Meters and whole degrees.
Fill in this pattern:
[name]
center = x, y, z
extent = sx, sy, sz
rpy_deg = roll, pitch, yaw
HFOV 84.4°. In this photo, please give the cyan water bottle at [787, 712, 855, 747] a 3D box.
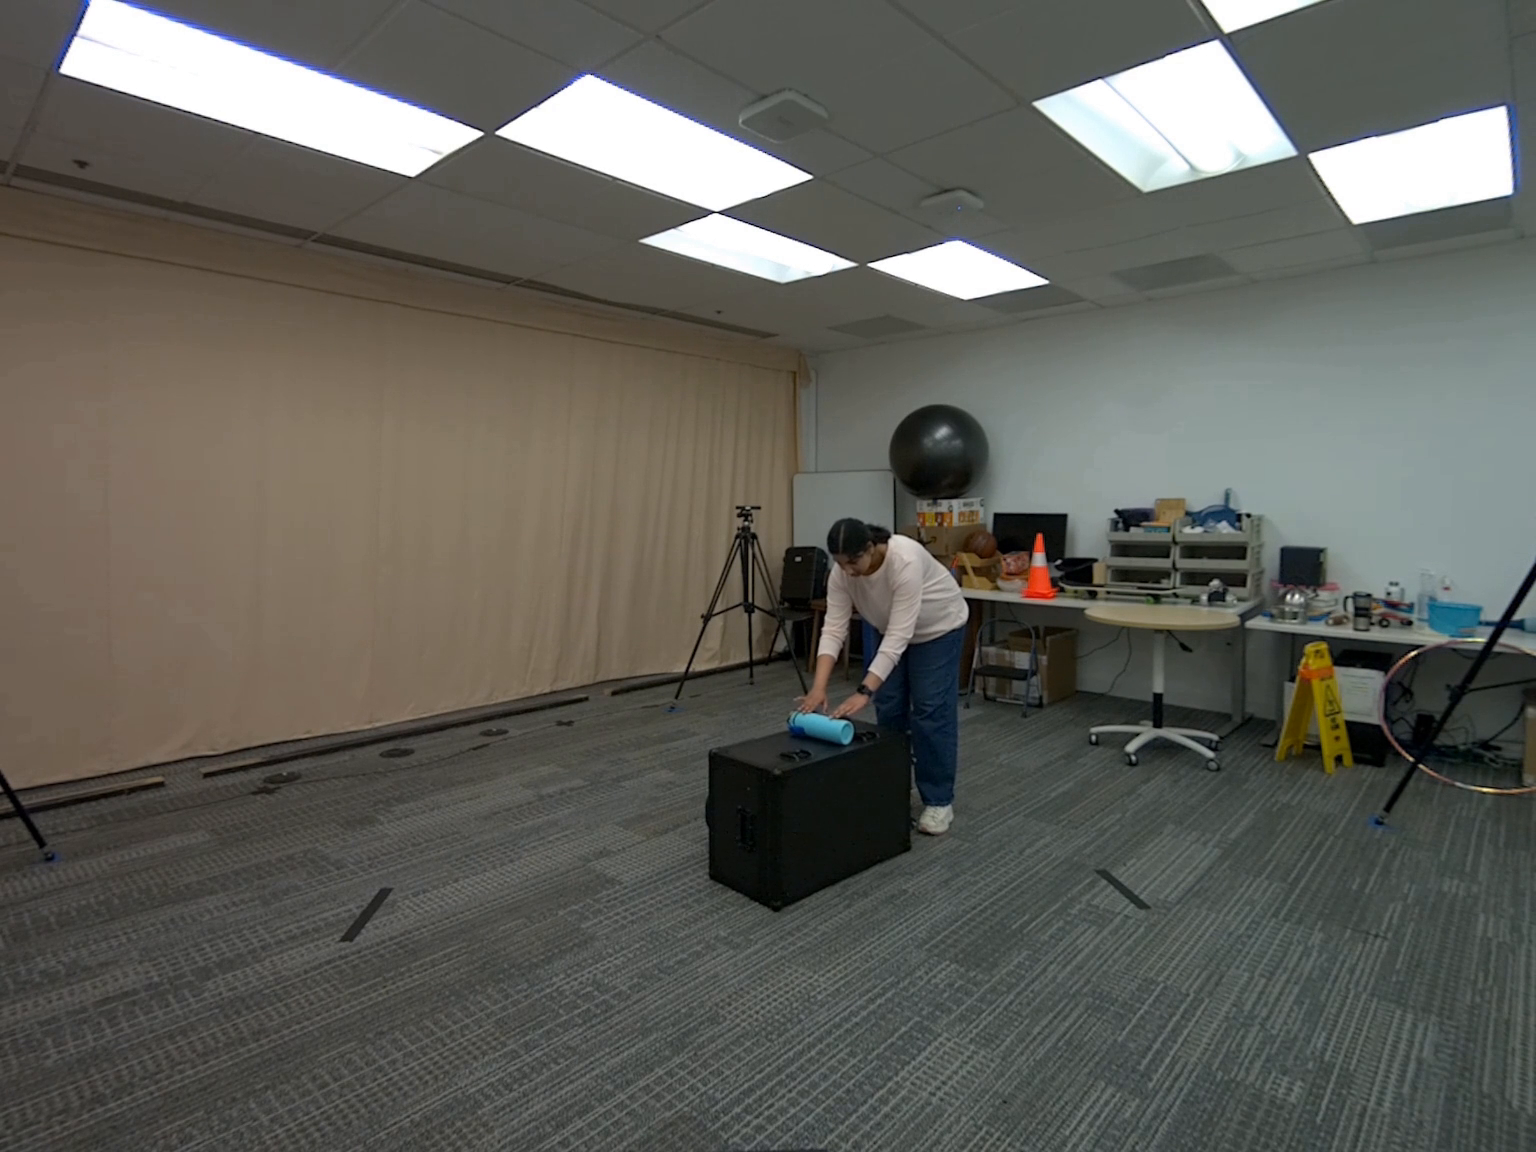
[cyan water bottle]
center = 0.199, 0.583, 3.292
extent = 0.293, 0.092, 0.089
rpy_deg = 5, 6, 42
